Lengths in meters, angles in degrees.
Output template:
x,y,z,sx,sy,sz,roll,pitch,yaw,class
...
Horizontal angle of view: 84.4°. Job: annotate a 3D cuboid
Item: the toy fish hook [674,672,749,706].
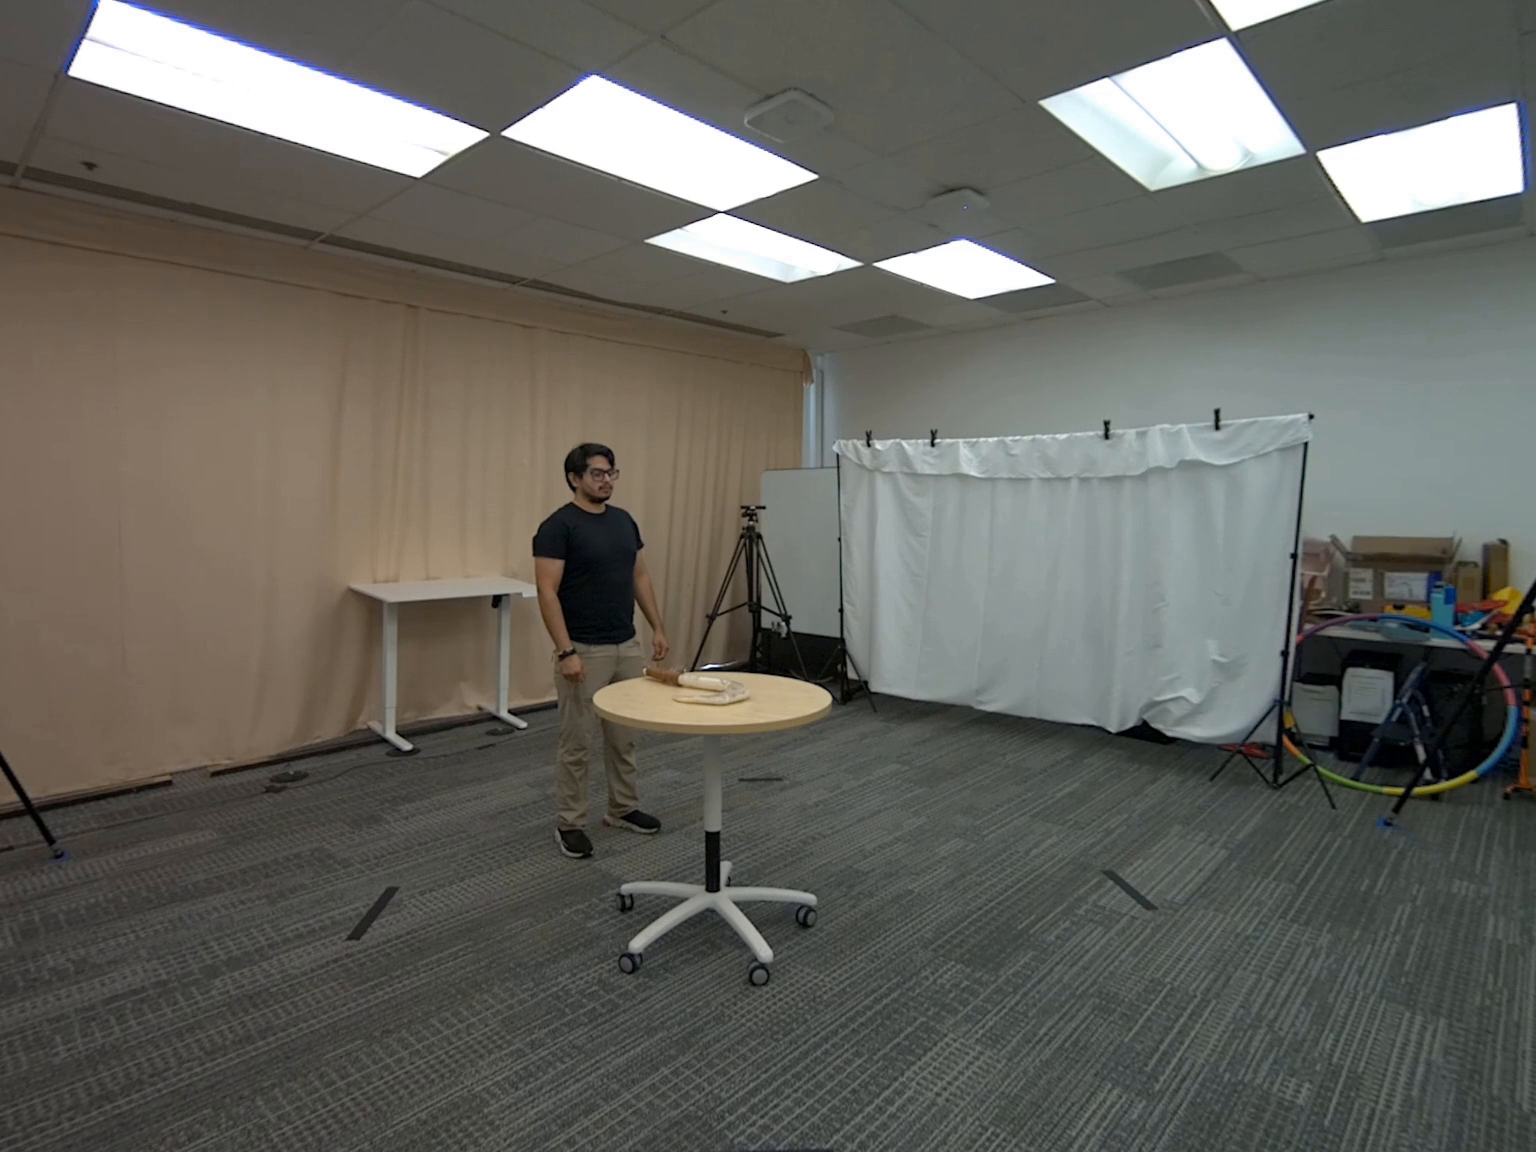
x,y,z,sx,sy,sz,roll,pitch,yaw,class
-0.281,0.358,2.767,0.524,0.048,0.217,5,5,43,toy fish hook
